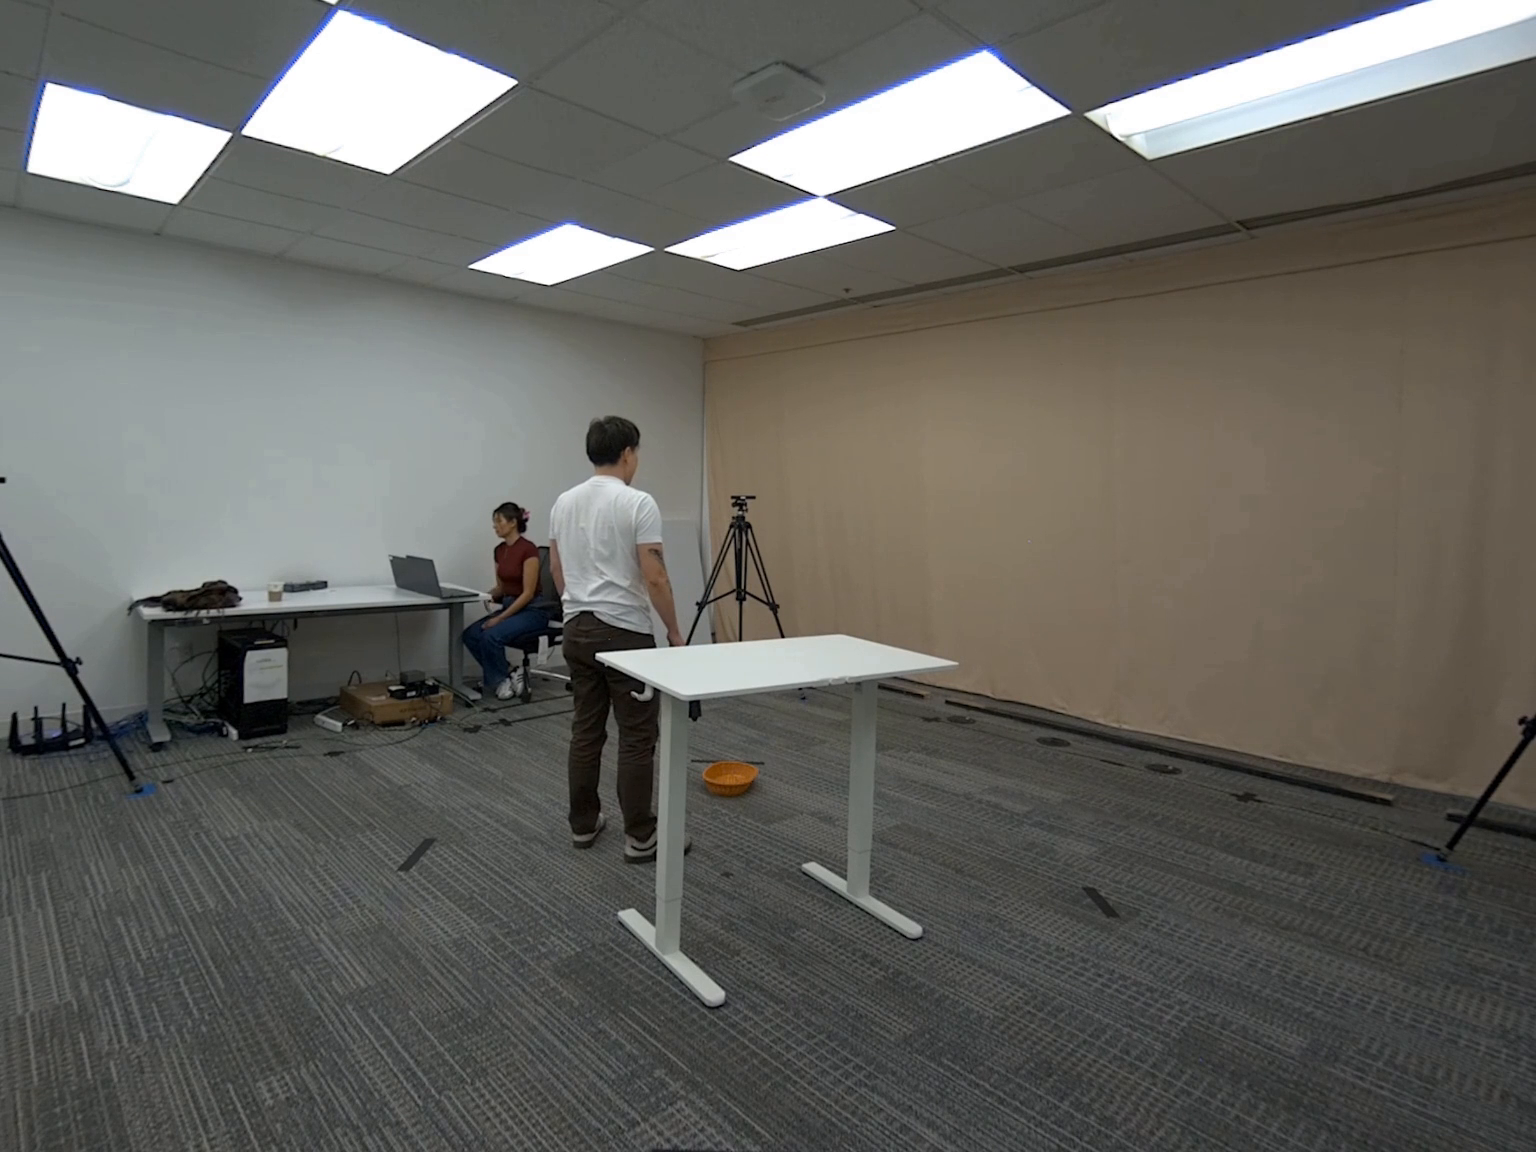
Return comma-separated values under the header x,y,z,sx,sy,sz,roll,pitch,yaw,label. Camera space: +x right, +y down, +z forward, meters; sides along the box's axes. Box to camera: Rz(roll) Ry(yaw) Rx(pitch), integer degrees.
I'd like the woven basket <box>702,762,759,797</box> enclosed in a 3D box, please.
x,y,z,sx,sy,sz,roll,pitch,yaw,label
-0.193,0.979,4.065,0.256,0.073,0.347,4,5,15,woven basket
